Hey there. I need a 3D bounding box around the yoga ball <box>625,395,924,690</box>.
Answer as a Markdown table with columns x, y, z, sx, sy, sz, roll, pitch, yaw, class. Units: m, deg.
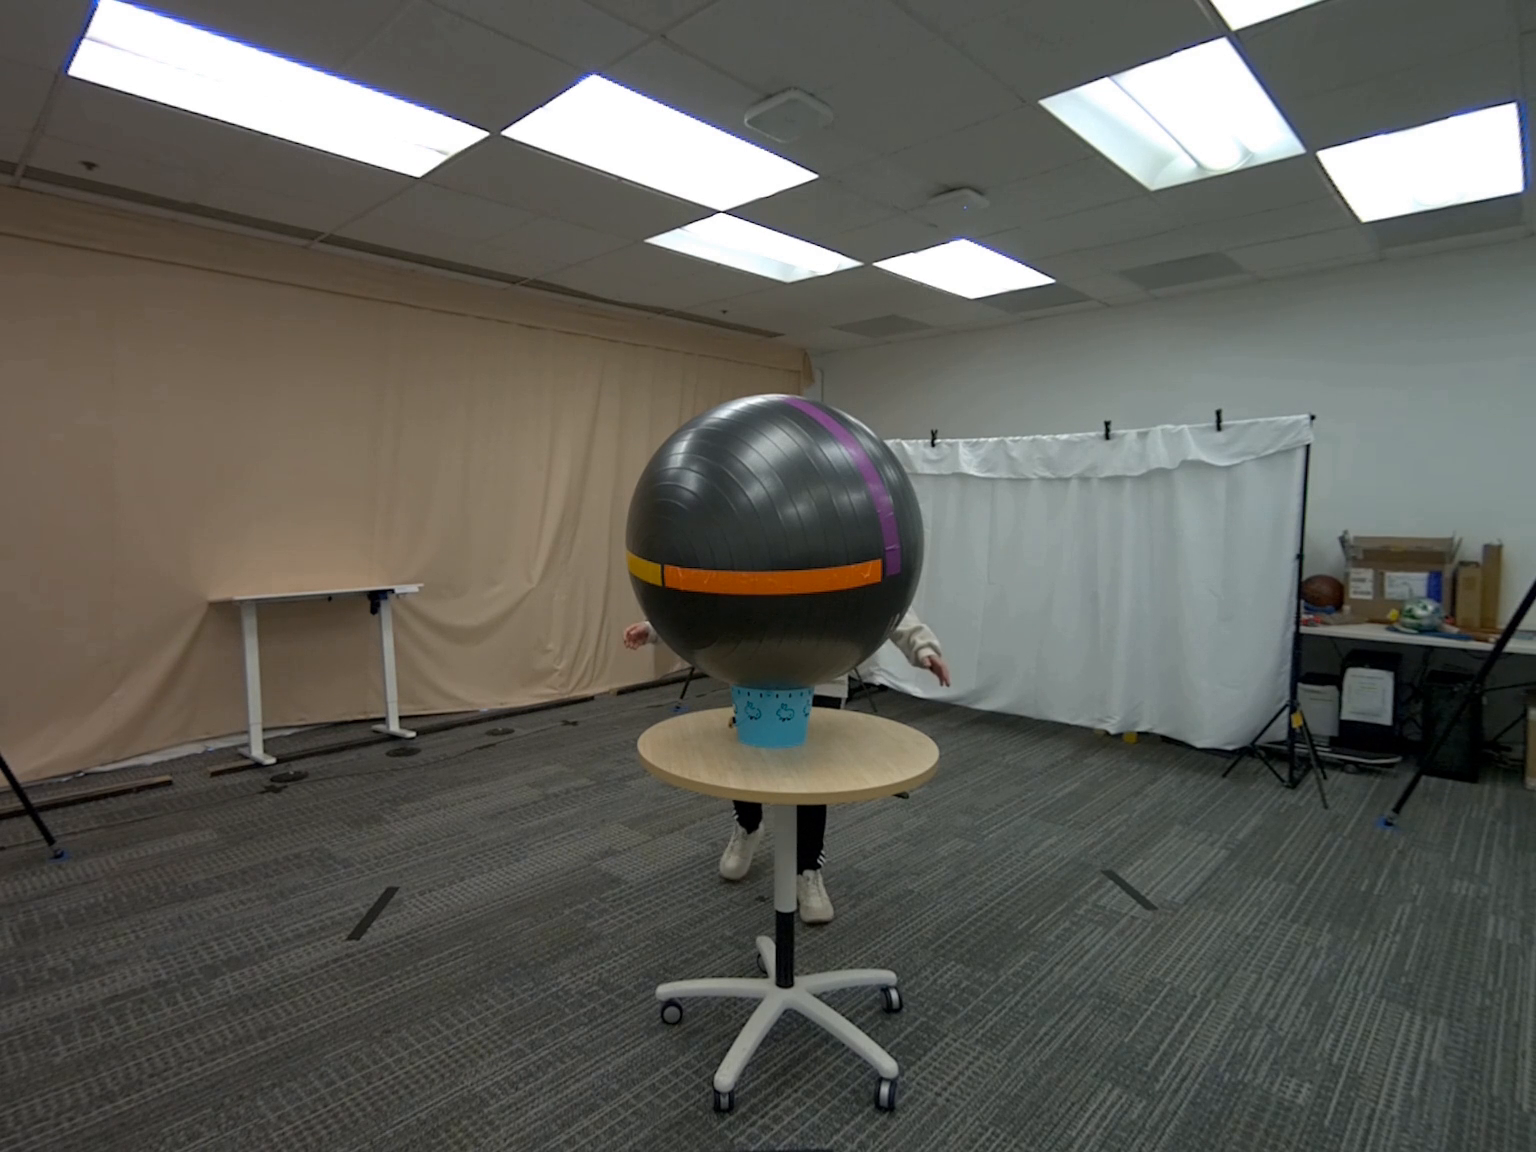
| x | y | z | sx | sy | sz | roll | pitch | yaw | class |
| --- | --- | --- | --- | --- | --- | --- | --- | --- | --- |
| 0.012 | -0.080 | 2.169 | 0.757 | 0.756 | 0.761 | 0 | 4 | -2 | yoga ball |
